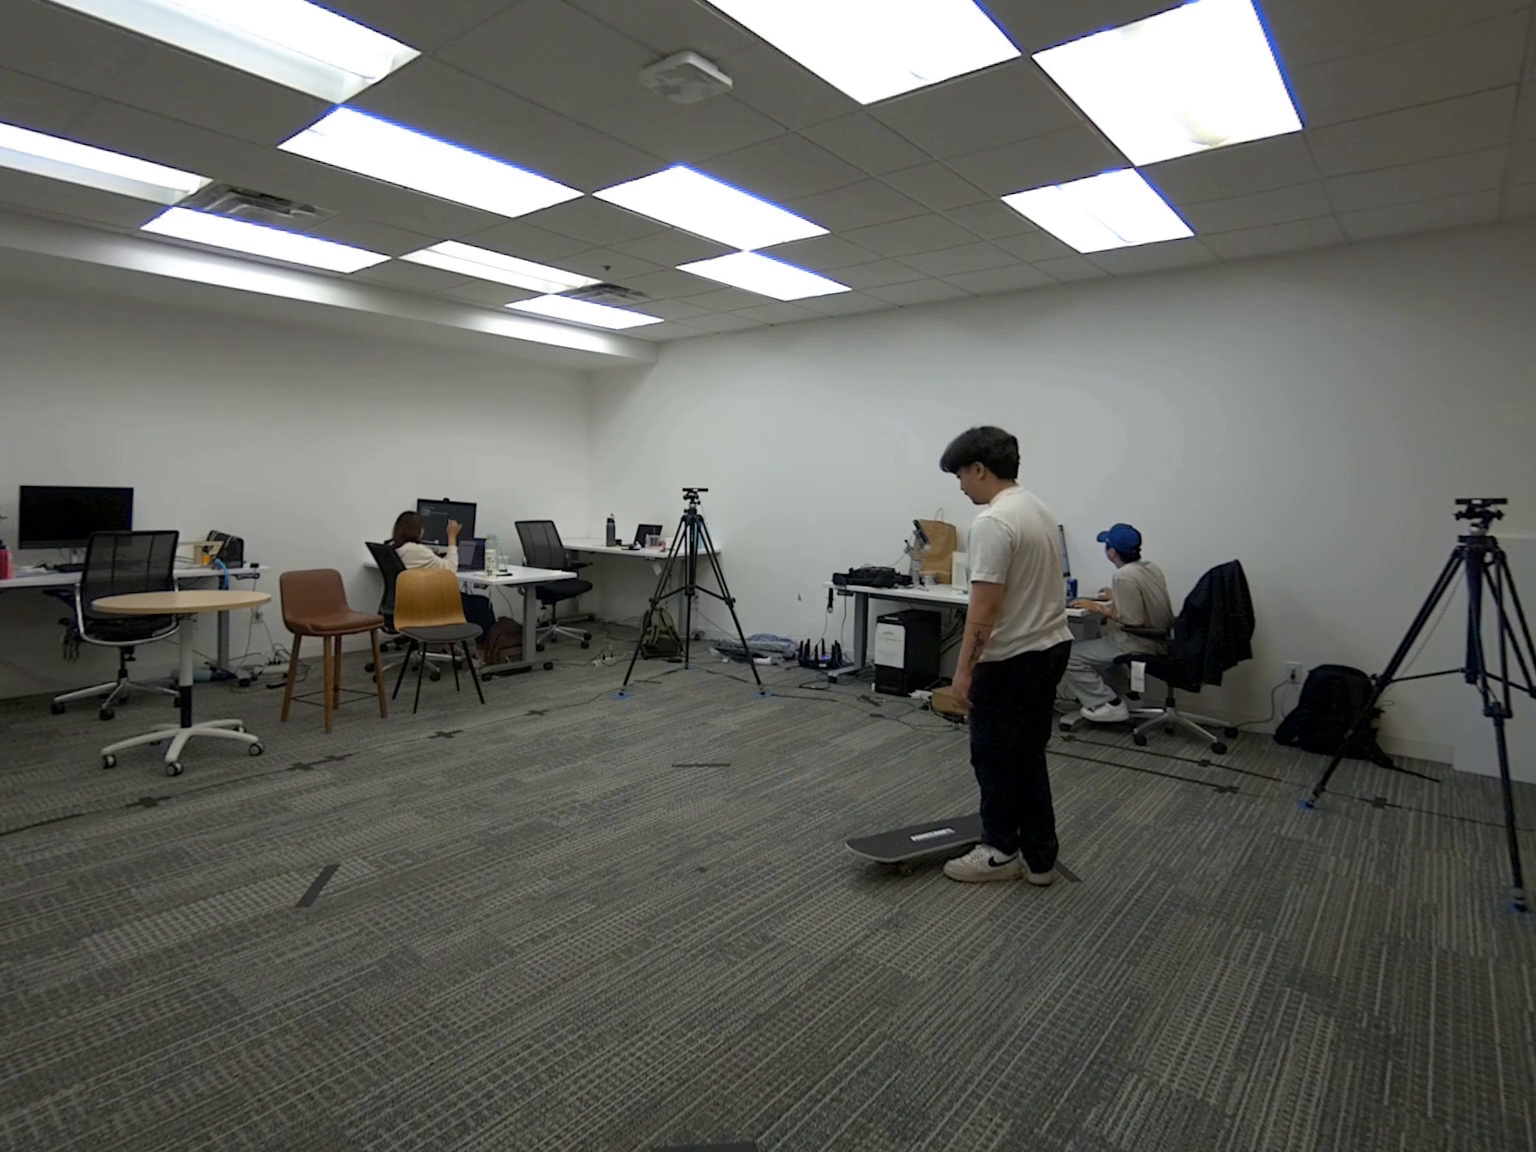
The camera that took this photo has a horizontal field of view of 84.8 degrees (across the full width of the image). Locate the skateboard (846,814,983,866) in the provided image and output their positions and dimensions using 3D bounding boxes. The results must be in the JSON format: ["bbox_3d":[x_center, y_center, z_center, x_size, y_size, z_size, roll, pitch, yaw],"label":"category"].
[{"bbox_3d":[0.620,1.016,3.258,0.765,0.110,0.199,-2,6,-29],"label":"skateboard"}]
